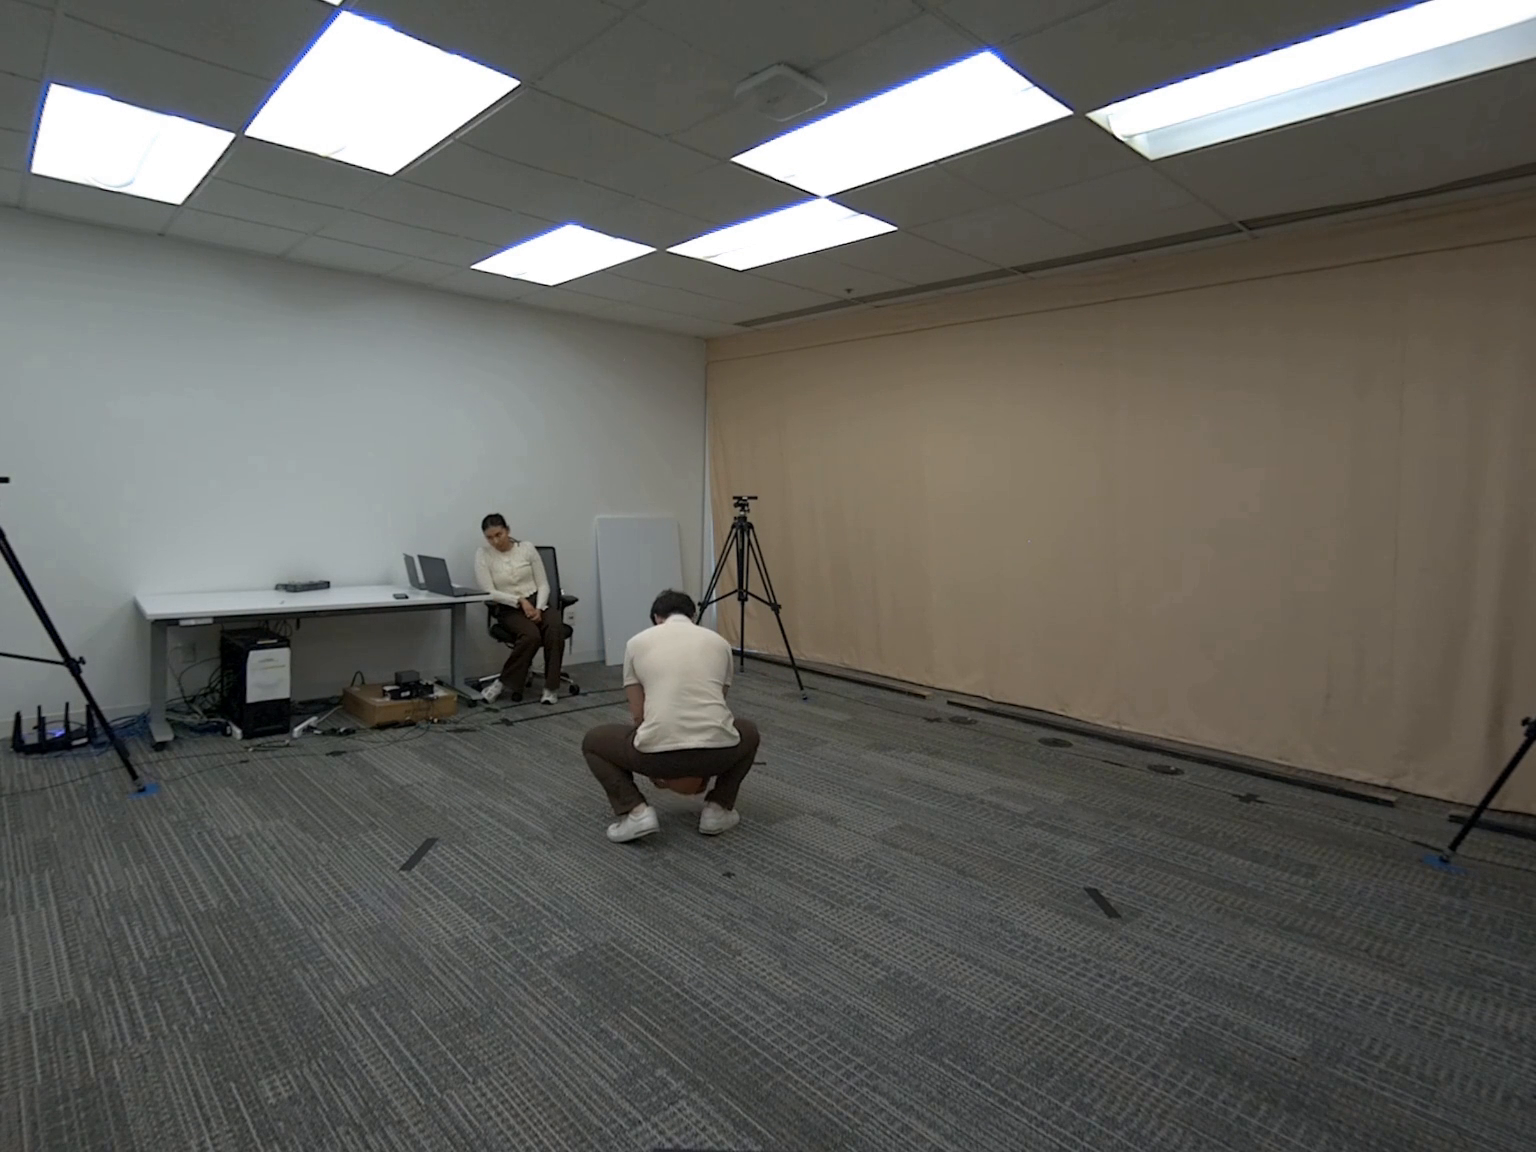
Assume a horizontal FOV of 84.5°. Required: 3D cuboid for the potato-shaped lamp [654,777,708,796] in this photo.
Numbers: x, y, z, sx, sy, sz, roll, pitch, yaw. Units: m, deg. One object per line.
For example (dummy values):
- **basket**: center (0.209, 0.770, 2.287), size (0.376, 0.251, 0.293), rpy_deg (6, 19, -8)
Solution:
- **potato-shaped lamp**: center (-0.363, 0.842, 3.691), size (0.161, 0.198, 0.175), rpy_deg (17, -1, -24)
